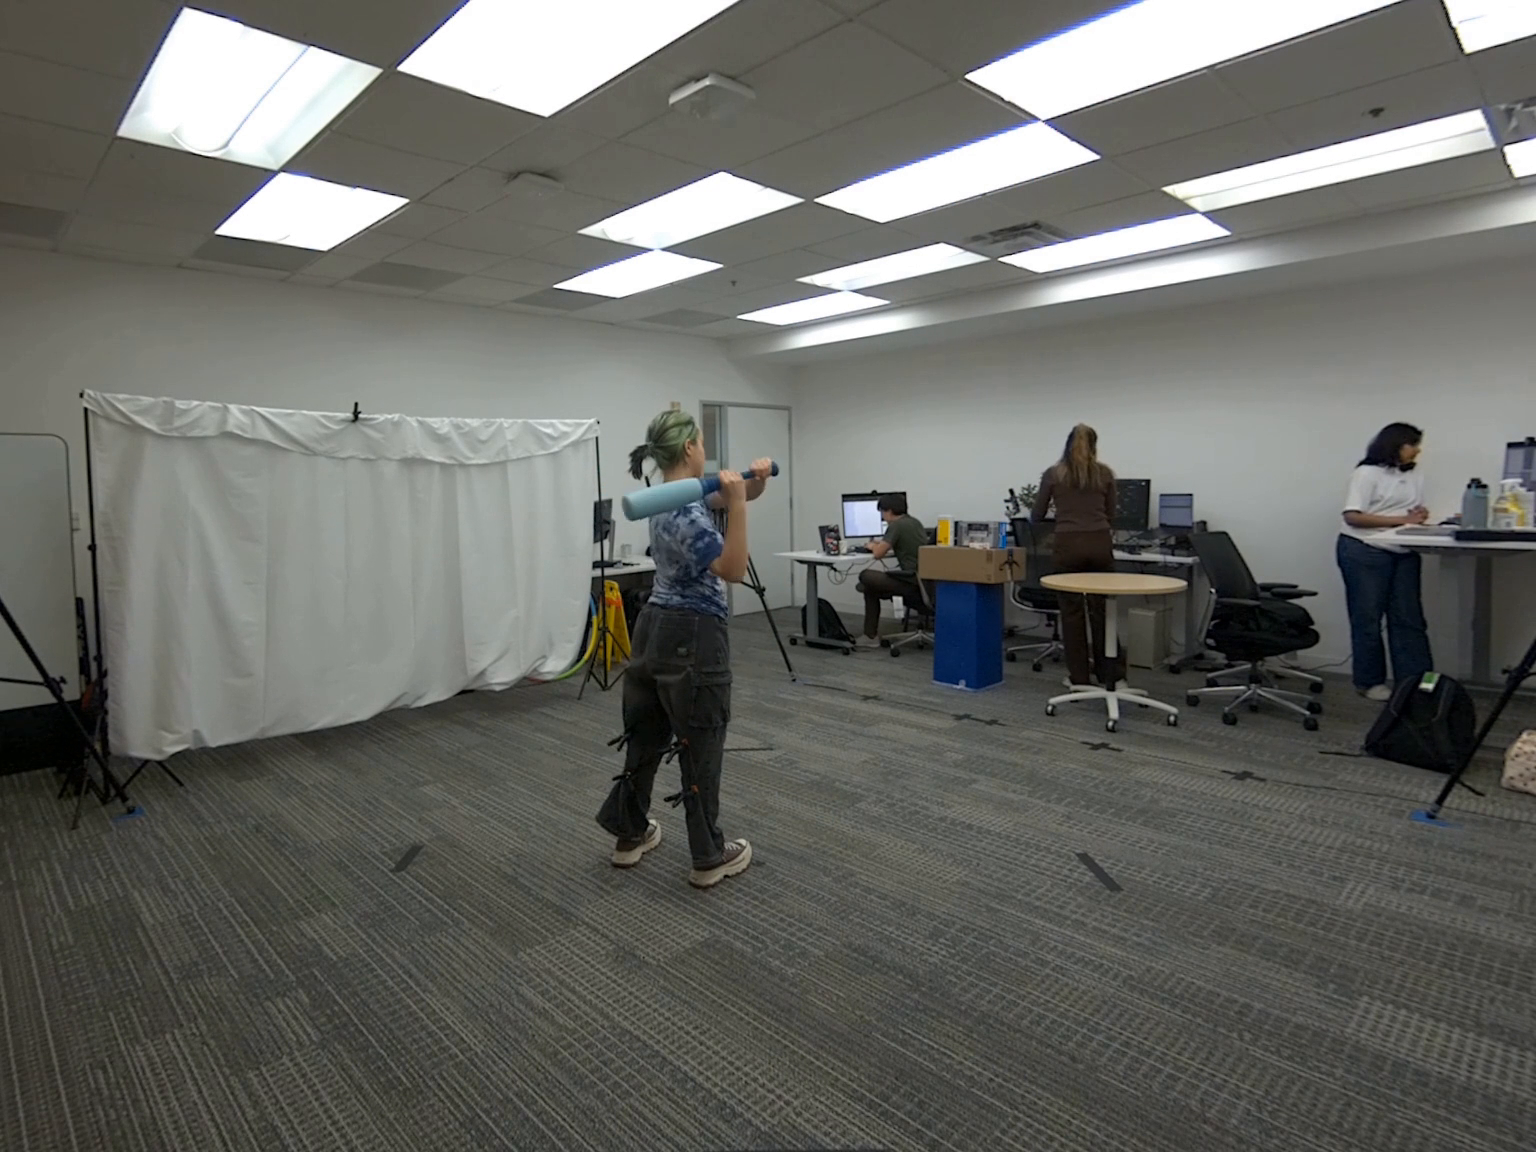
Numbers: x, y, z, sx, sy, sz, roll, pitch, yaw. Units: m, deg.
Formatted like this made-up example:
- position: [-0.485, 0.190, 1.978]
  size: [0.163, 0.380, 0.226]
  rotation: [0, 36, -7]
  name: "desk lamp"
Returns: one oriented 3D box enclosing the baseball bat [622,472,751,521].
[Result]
- position: [-0.193, -0.276, 2.701]
  size: [0.535, 0.088, 0.091]
  rotation: [-19, 12, -25]
  name: "baseball bat"
